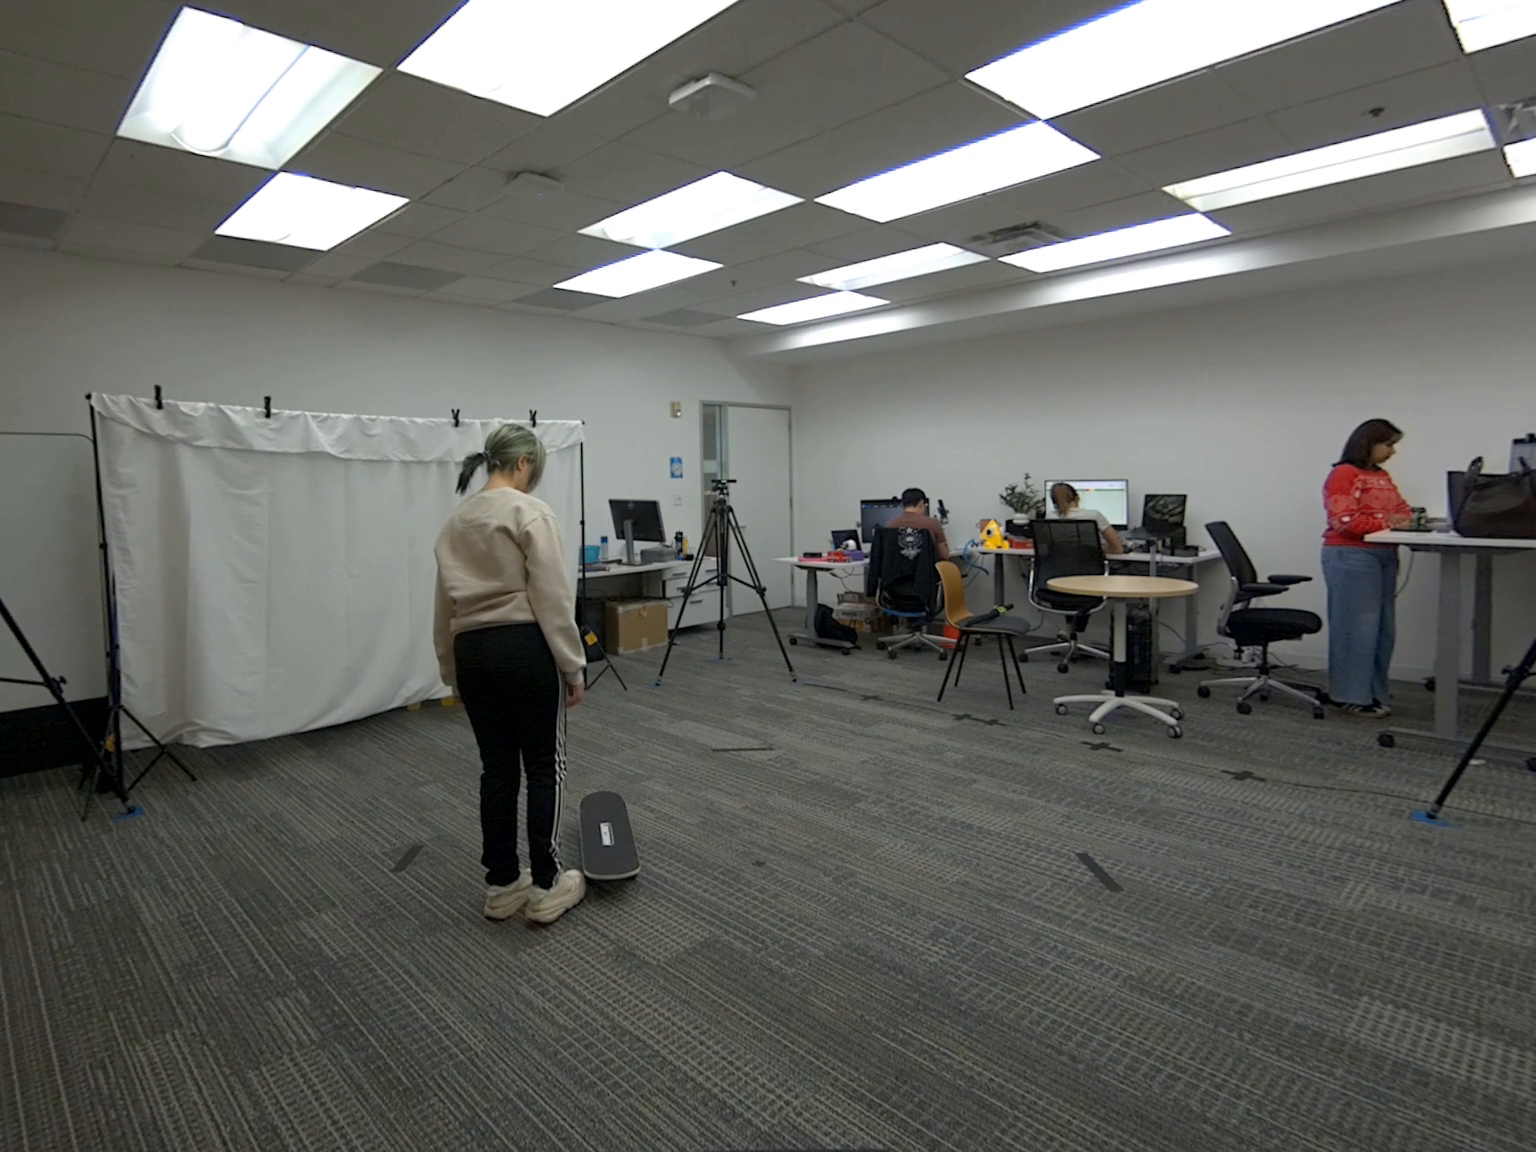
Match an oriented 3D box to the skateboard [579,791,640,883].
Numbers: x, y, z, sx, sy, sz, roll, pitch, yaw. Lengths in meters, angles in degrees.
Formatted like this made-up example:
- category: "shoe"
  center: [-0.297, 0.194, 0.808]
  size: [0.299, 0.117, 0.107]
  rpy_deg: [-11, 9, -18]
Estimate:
- category: "skateboard"
  center: [-0.597, 0.992, 3.183]
  size: [0.191, 0.110, 0.798]
  rpy_deg: [-2, 6, -14]
